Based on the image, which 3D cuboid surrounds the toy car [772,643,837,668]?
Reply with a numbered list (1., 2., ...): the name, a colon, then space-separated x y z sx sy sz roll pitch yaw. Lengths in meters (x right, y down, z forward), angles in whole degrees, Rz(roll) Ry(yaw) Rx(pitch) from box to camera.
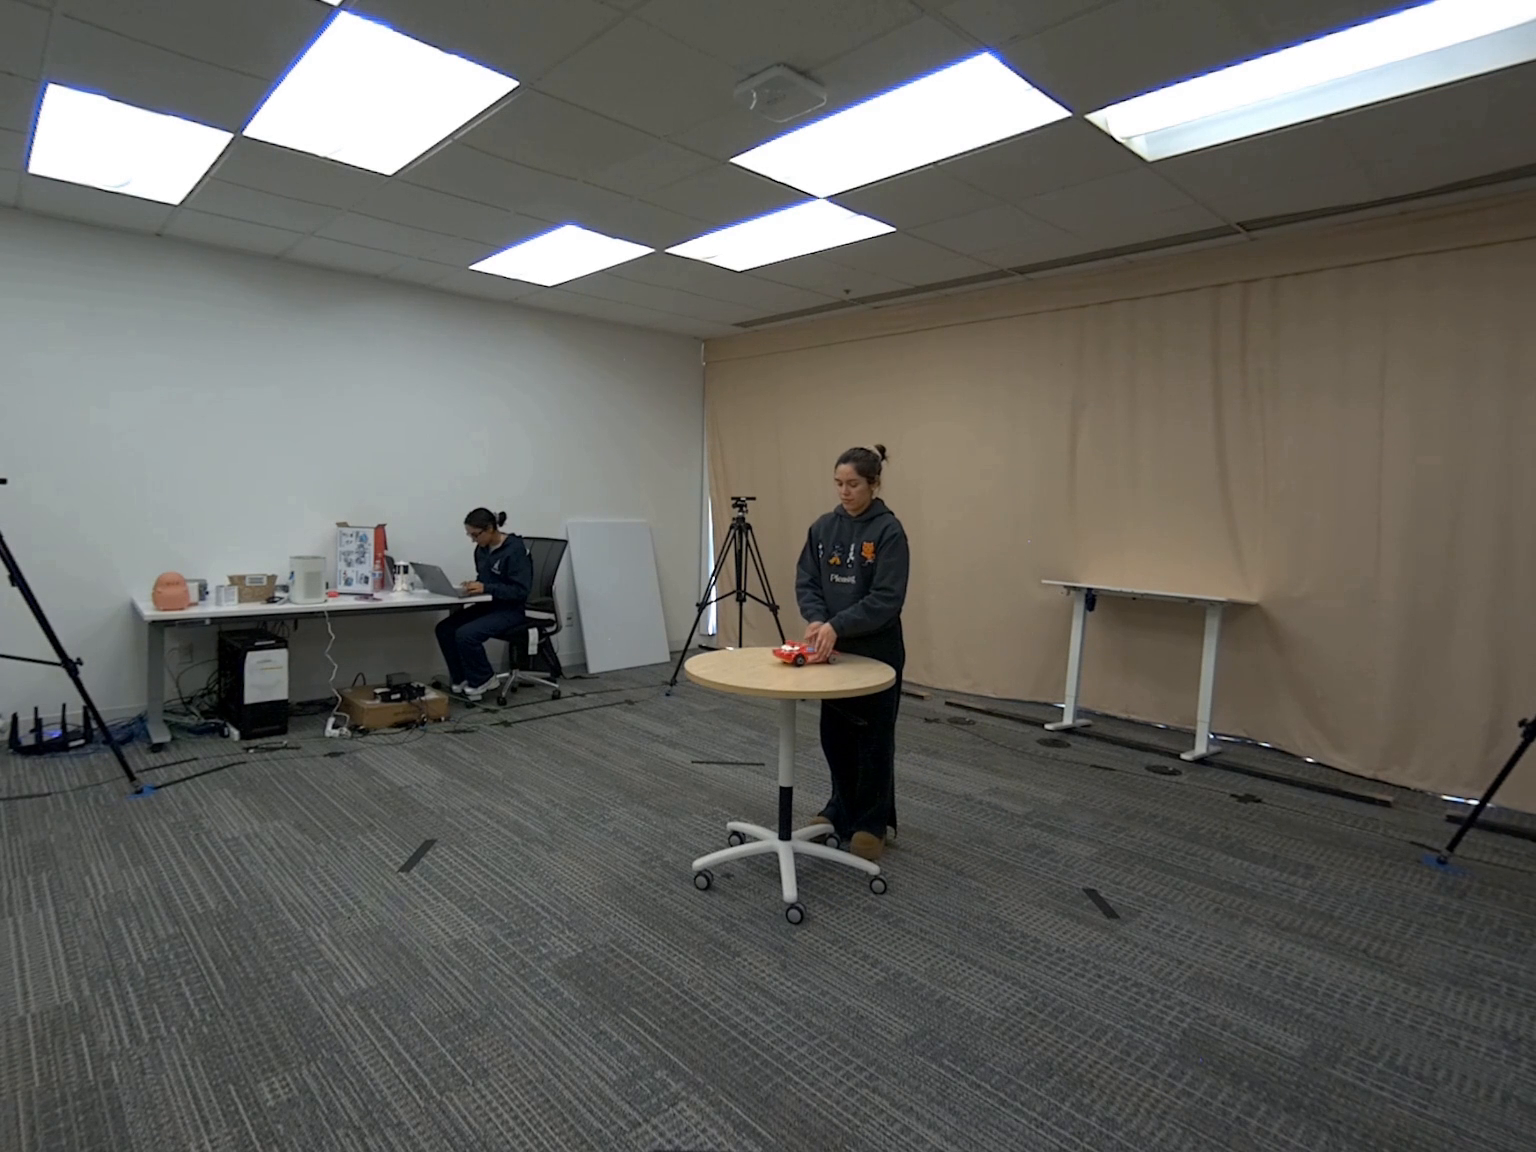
1. toy car: 0.121 0.295 3.138 0.249 0.083 0.133 13 -1 -28
